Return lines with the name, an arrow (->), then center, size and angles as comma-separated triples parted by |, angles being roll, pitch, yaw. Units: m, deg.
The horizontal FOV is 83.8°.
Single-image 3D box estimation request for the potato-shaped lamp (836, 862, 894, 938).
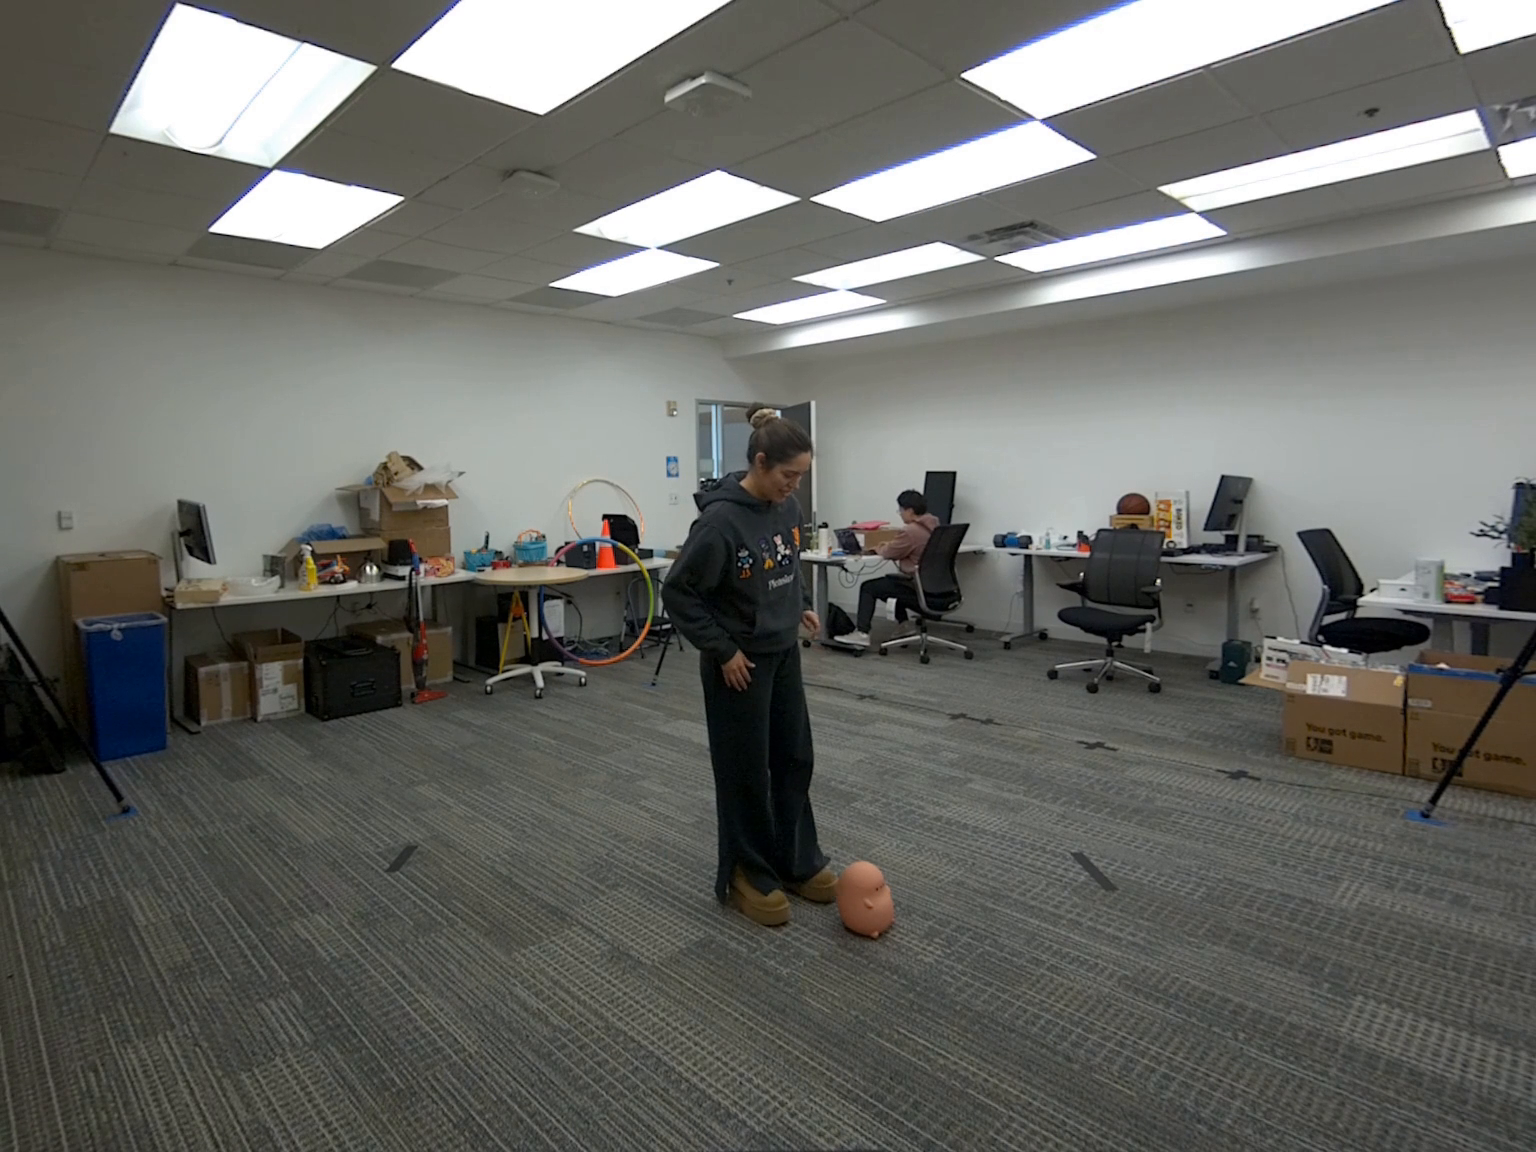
potato-shaped lamp -> 0.301, 0.989, 2.637 | 0.176, 0.197, 0.160 | 2, 6, 38
